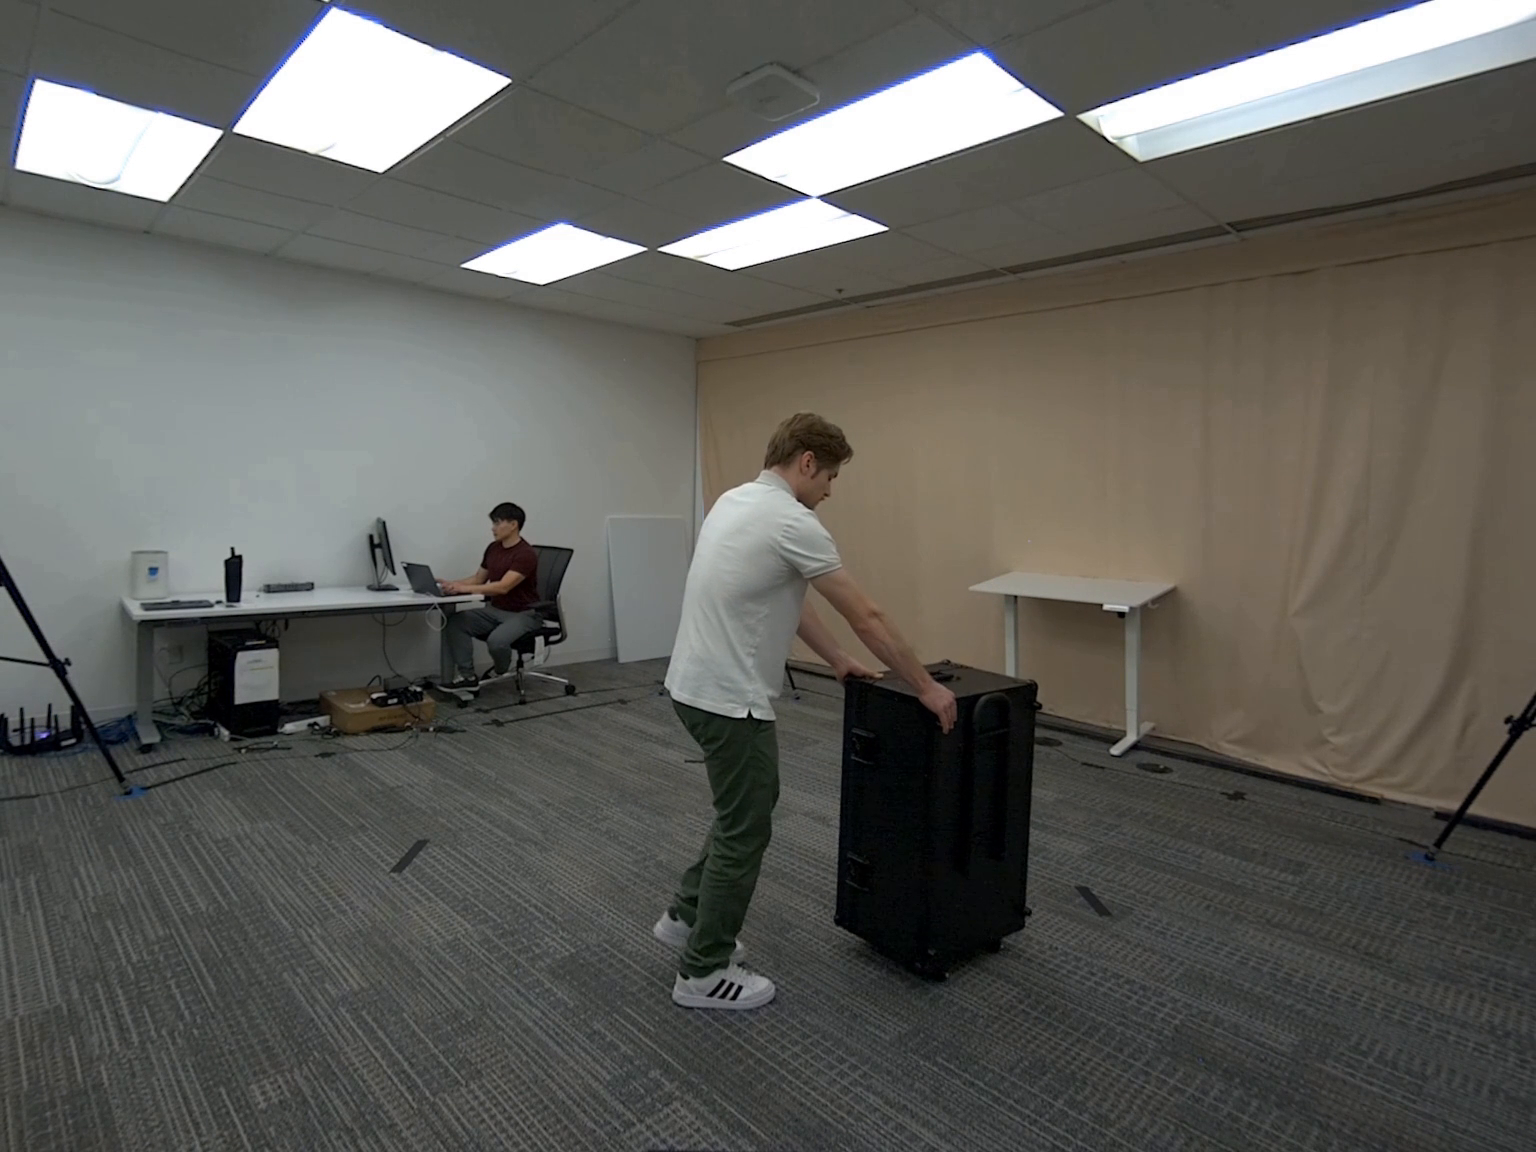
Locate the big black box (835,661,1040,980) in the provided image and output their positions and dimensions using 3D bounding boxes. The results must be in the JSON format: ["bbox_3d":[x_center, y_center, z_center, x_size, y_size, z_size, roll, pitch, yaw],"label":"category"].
[{"bbox_3d":[0.524,0.745,2.612,0.512,0.866,0.395,-2,5,-39],"label":"big black box"}]
